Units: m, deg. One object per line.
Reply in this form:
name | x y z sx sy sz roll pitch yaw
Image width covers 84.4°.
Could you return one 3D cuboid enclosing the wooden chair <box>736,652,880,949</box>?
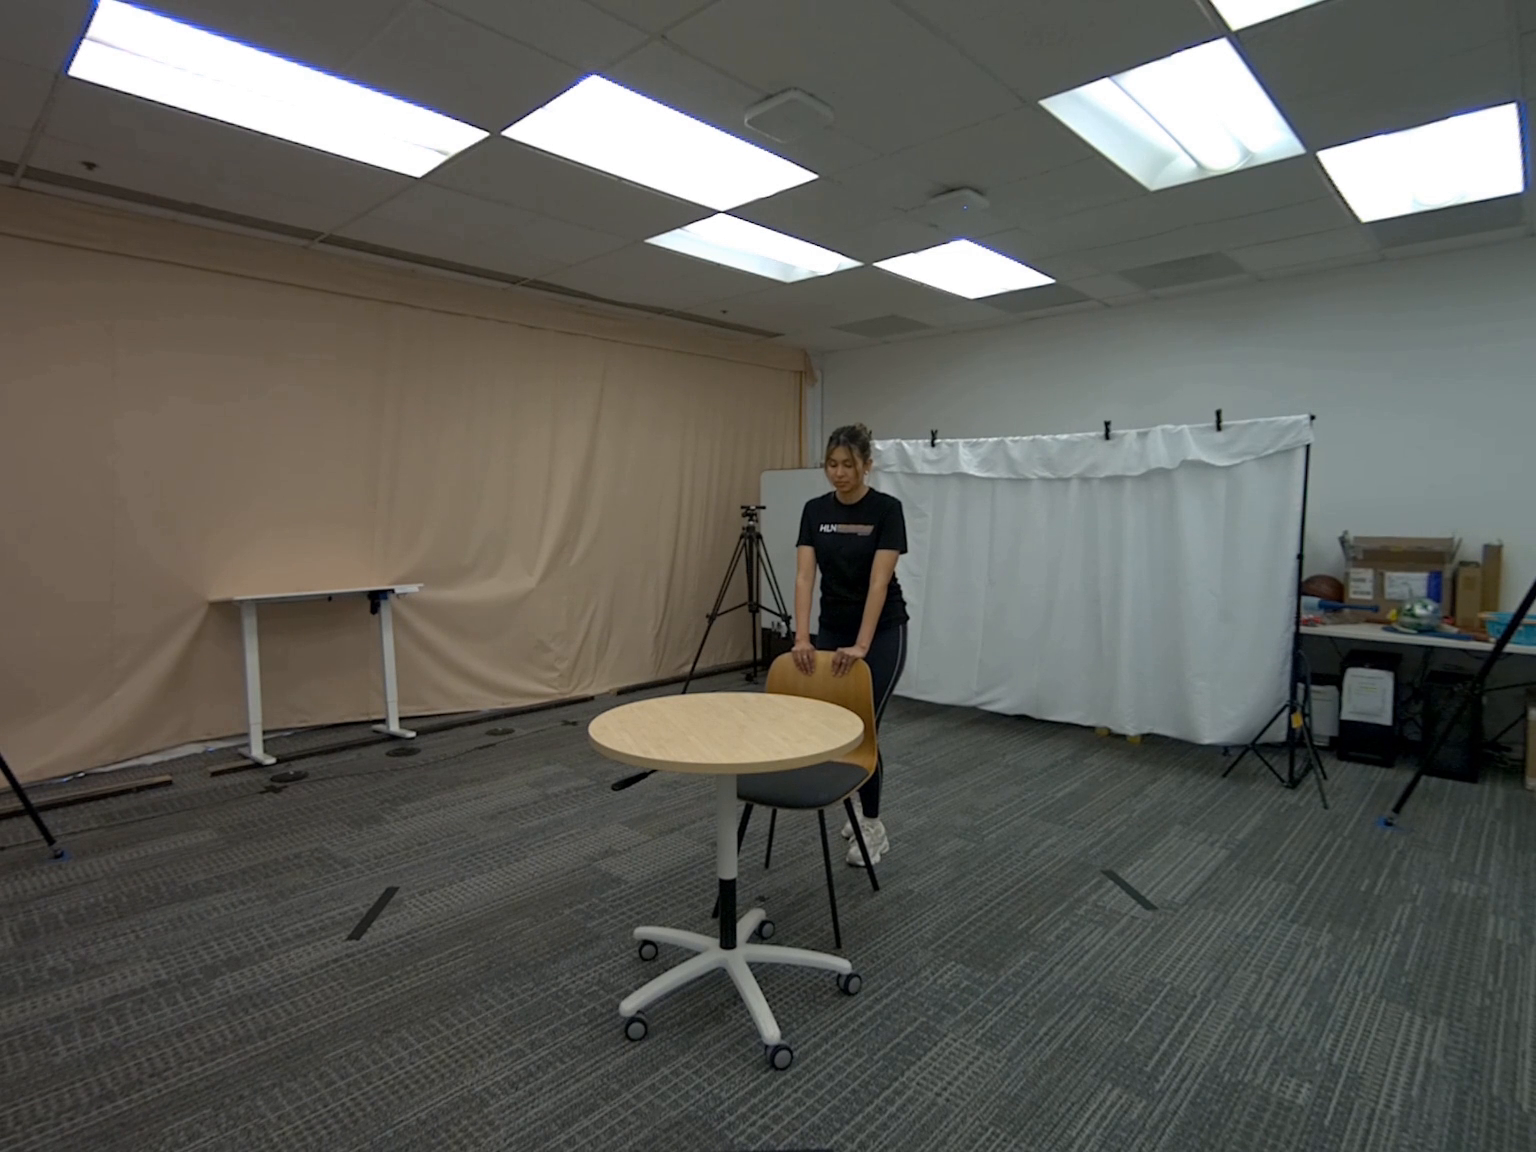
wooden chair | 0.108 0.721 2.908 0.491 0.878 0.509 1 0 26
